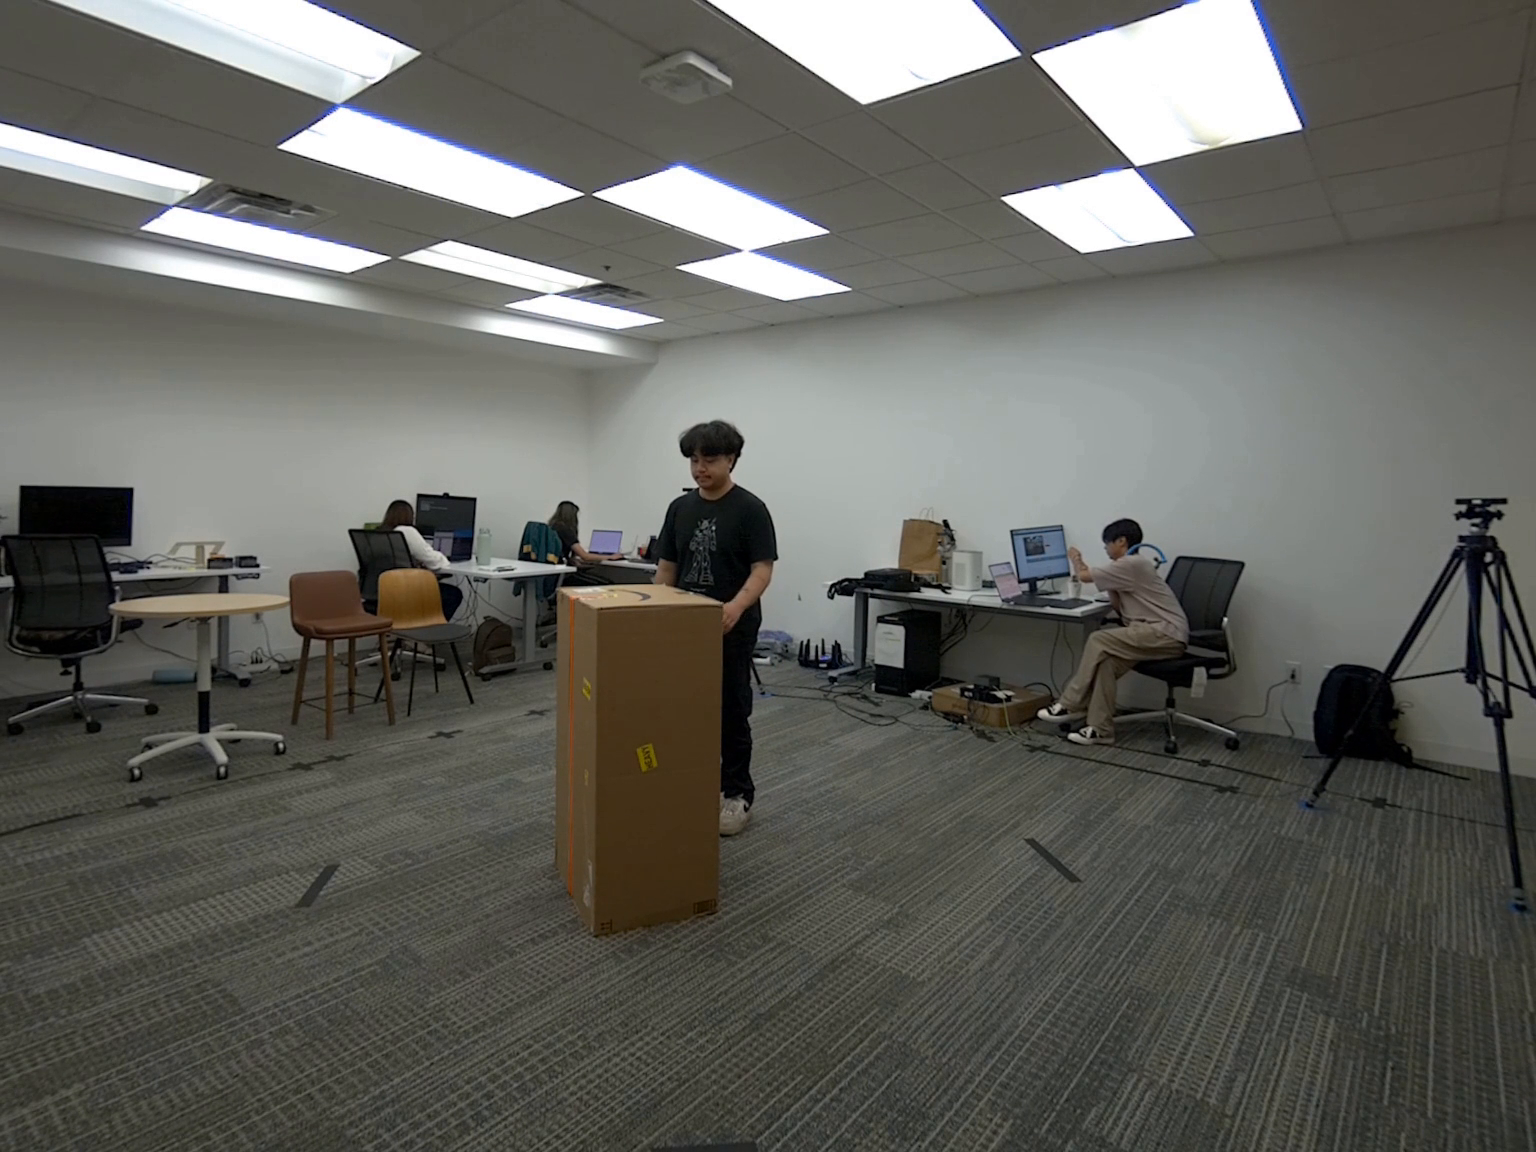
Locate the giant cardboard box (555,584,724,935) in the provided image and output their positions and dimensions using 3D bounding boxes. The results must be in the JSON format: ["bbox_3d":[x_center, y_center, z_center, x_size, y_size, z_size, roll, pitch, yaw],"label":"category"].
[{"bbox_3d":[-0.479,0.569,2.939,0.436,1.024,0.599,-1,4,-25],"label":"giant cardboard box"}]
